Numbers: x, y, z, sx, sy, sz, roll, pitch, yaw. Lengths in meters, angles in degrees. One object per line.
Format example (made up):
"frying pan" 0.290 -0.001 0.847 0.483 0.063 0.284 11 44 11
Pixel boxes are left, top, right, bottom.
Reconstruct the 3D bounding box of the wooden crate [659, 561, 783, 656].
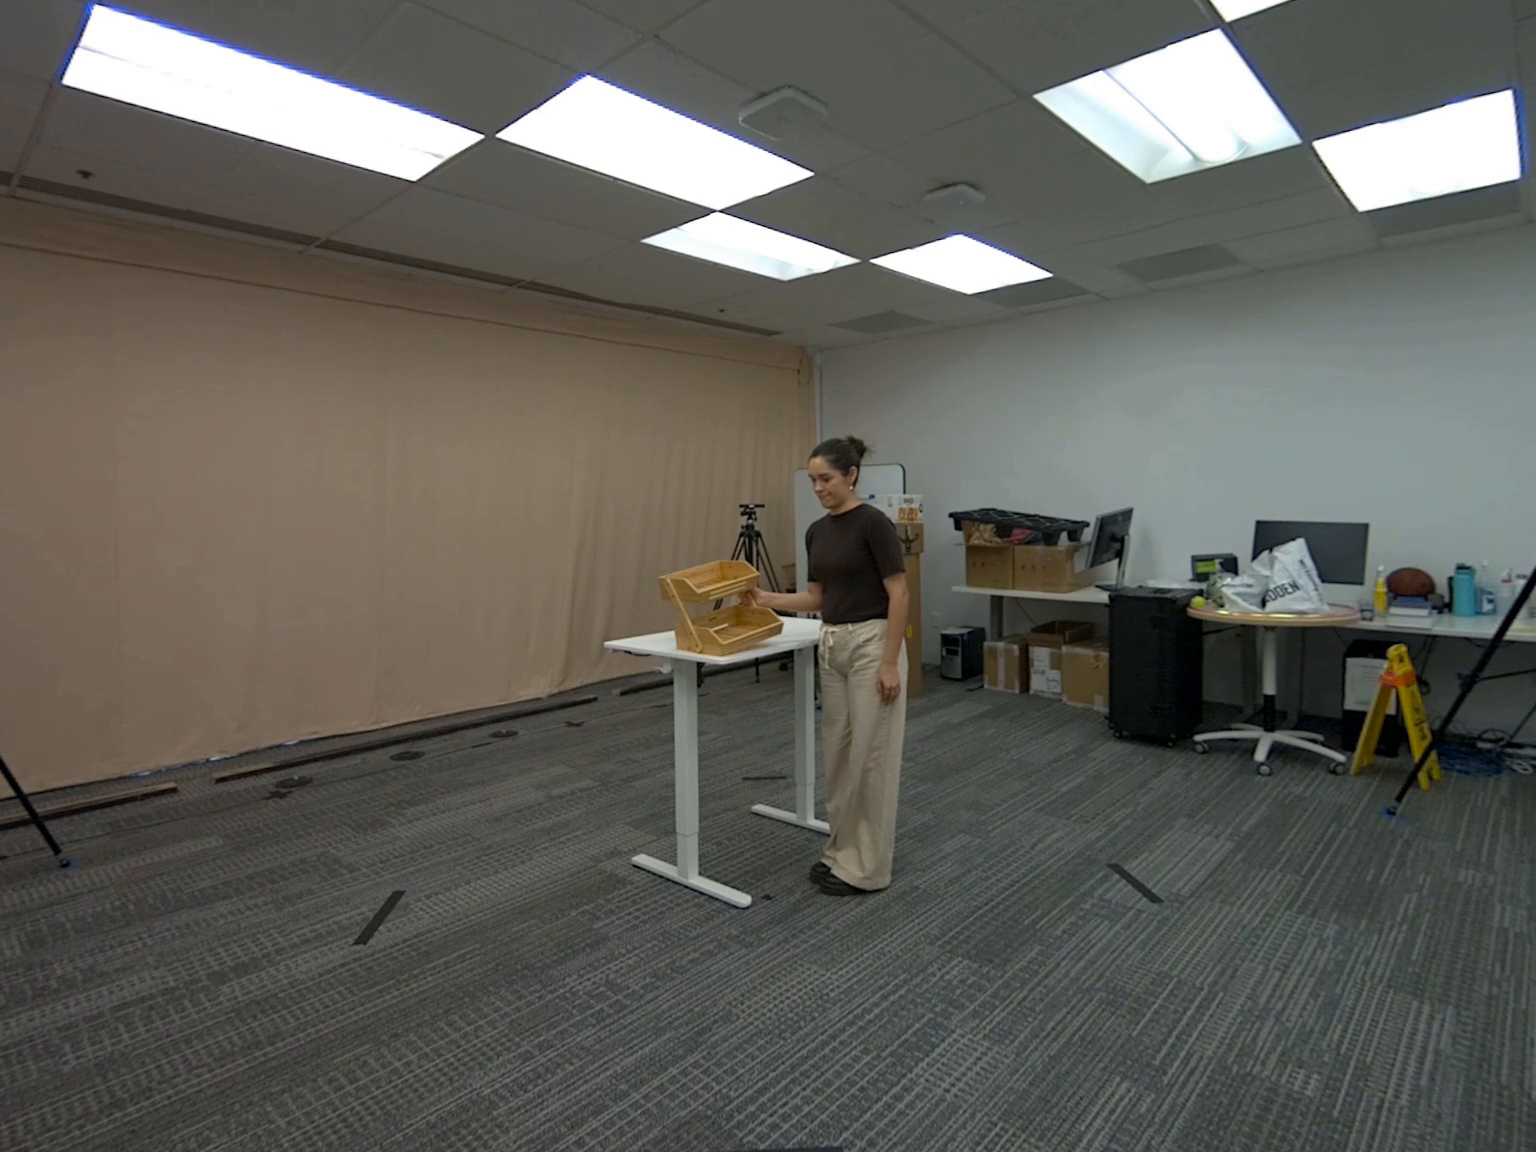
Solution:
"wooden crate" -0.161 0.105 2.999 0.316 0.271 0.312 -16 12 -41
